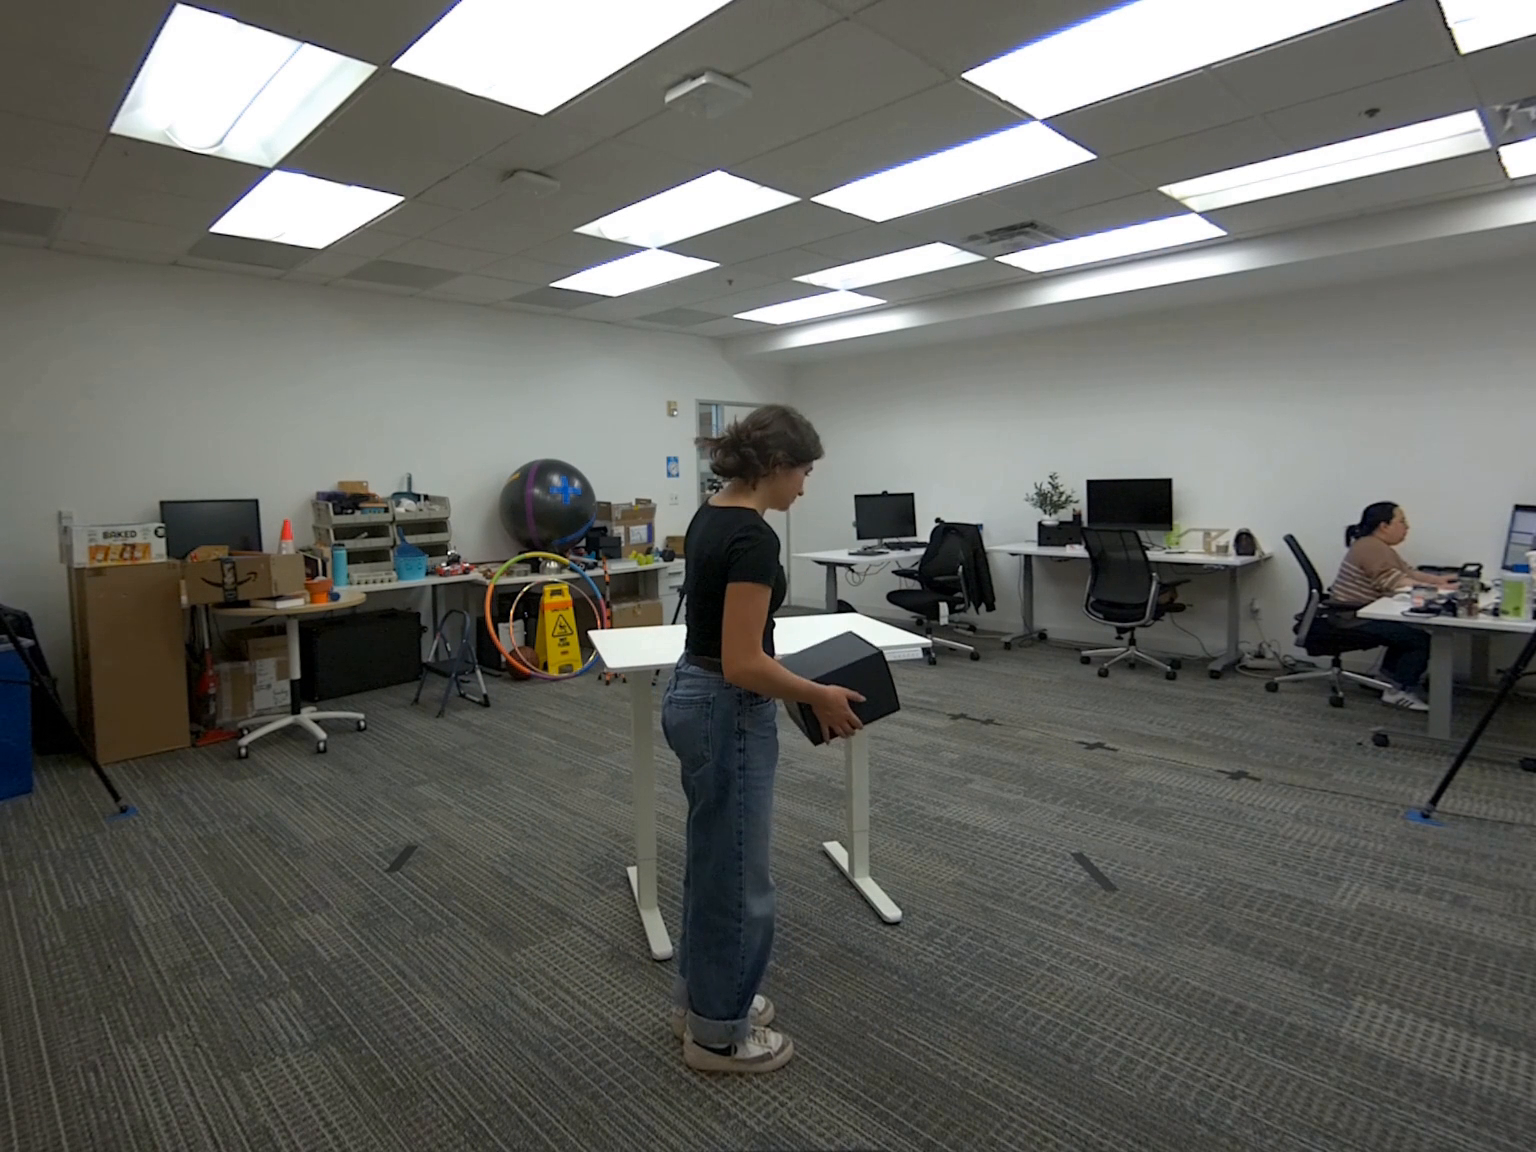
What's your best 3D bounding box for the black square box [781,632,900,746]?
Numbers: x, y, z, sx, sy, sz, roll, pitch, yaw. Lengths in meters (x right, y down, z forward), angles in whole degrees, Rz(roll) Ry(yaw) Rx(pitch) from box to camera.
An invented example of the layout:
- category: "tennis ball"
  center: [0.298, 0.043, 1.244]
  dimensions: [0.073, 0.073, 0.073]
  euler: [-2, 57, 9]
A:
- category: "black square box"
  center: [0.156, 0.264, 2.057]
  dimensions: [0.226, 0.154, 0.221]
  euler: [-15, 11, -11]
